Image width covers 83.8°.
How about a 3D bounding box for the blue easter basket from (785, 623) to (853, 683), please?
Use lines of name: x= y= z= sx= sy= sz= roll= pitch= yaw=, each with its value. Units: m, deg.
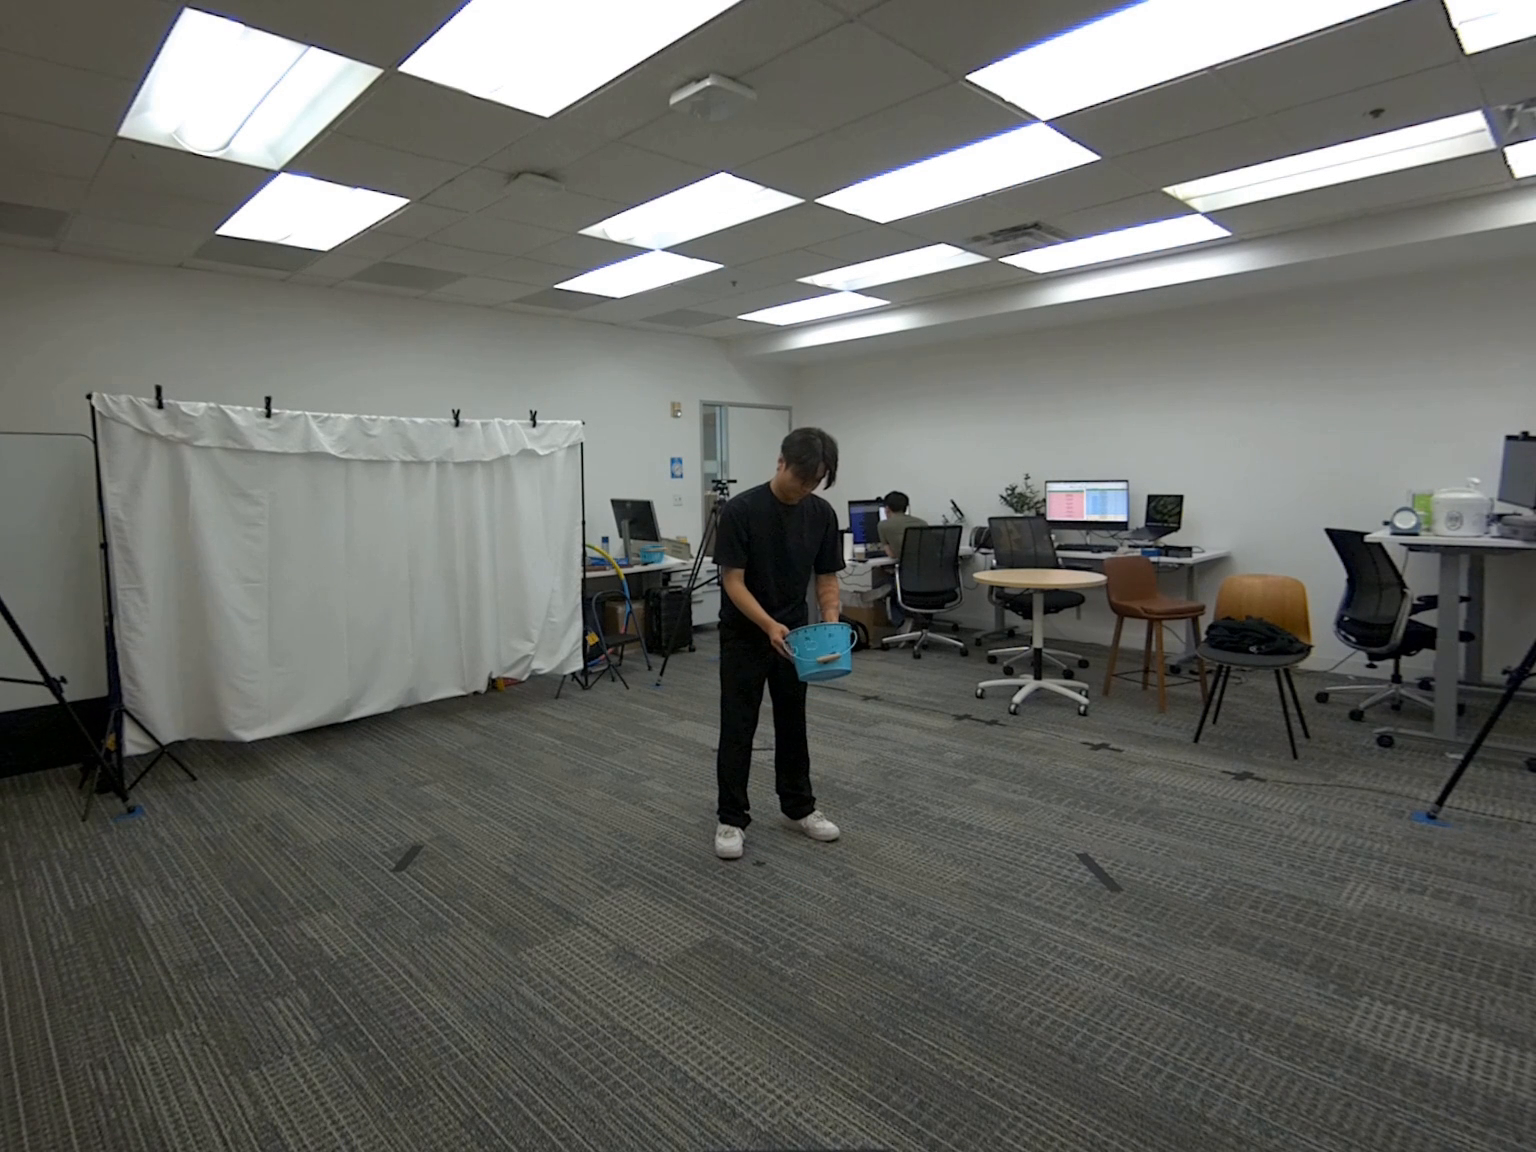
blue easter basket: x=0.181 y=0.273 z=2.925 sx=0.243 sy=0.159 sz=0.240 roll=-7 pitch=-18 yaw=-4
